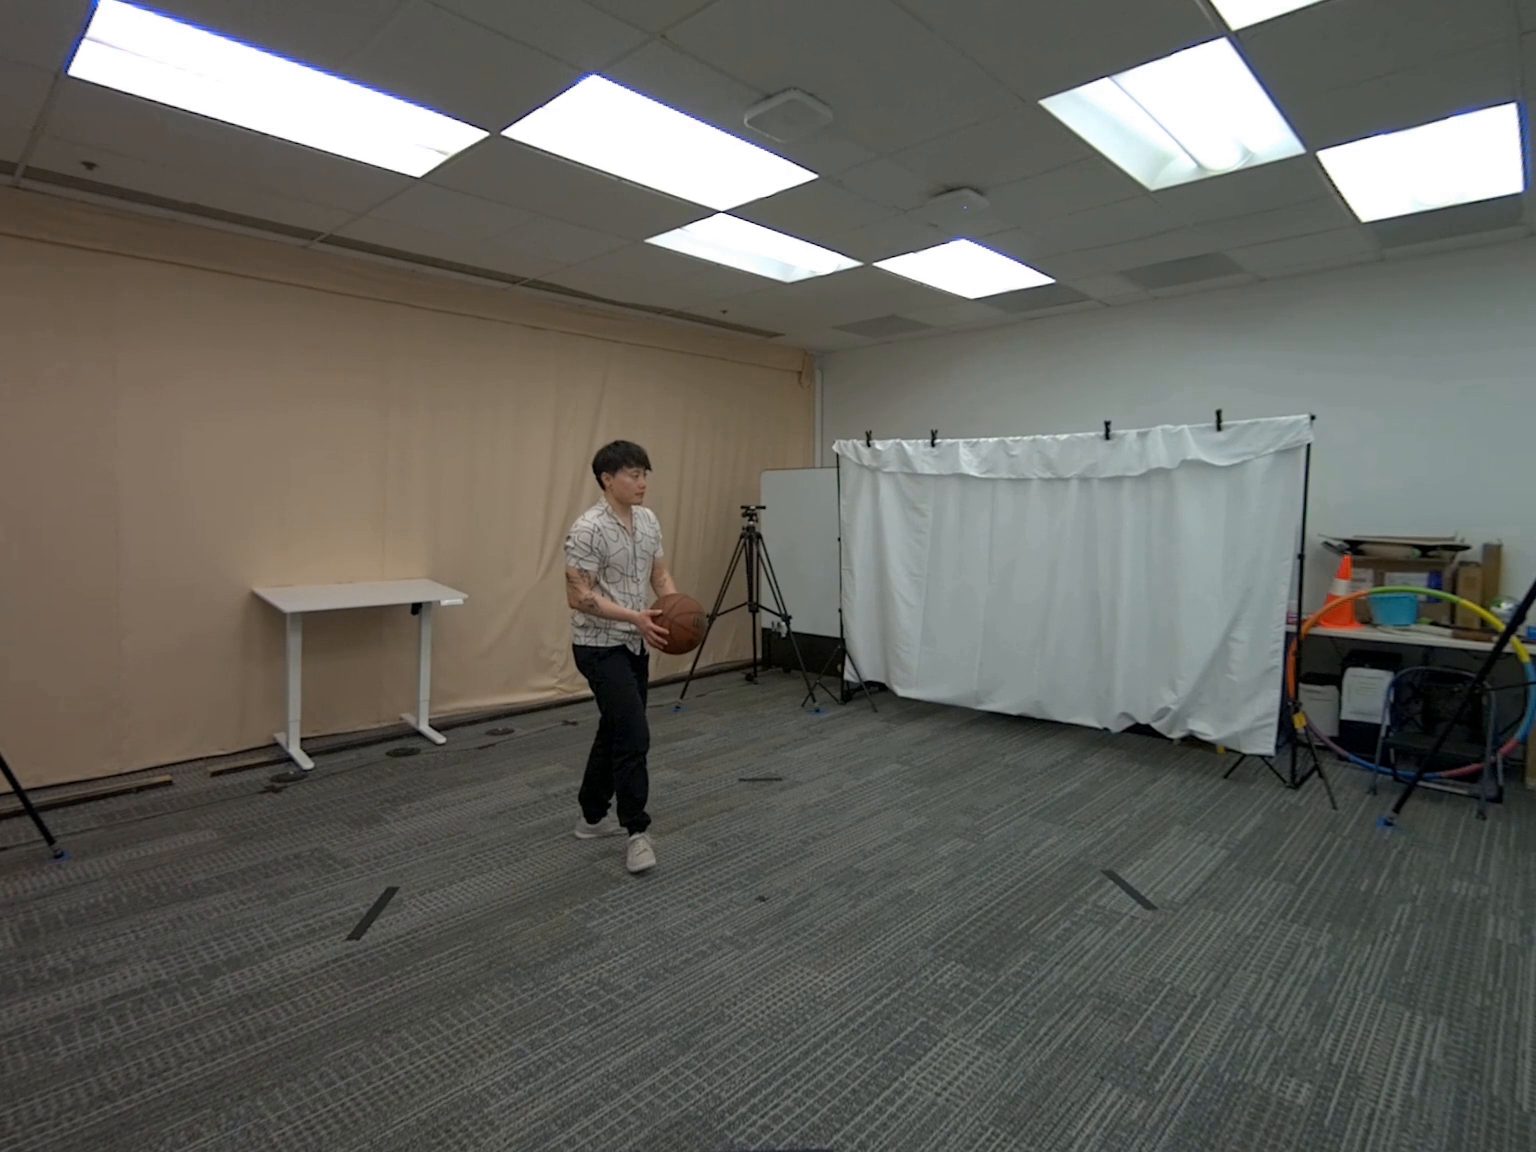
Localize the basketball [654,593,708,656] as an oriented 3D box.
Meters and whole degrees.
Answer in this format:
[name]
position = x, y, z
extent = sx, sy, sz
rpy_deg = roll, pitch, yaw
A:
[basketball]
position = -0.358, 0.181, 3.250
extent = 0.236, 0.235, 0.237
rpy_deg = 0, 4, -2
